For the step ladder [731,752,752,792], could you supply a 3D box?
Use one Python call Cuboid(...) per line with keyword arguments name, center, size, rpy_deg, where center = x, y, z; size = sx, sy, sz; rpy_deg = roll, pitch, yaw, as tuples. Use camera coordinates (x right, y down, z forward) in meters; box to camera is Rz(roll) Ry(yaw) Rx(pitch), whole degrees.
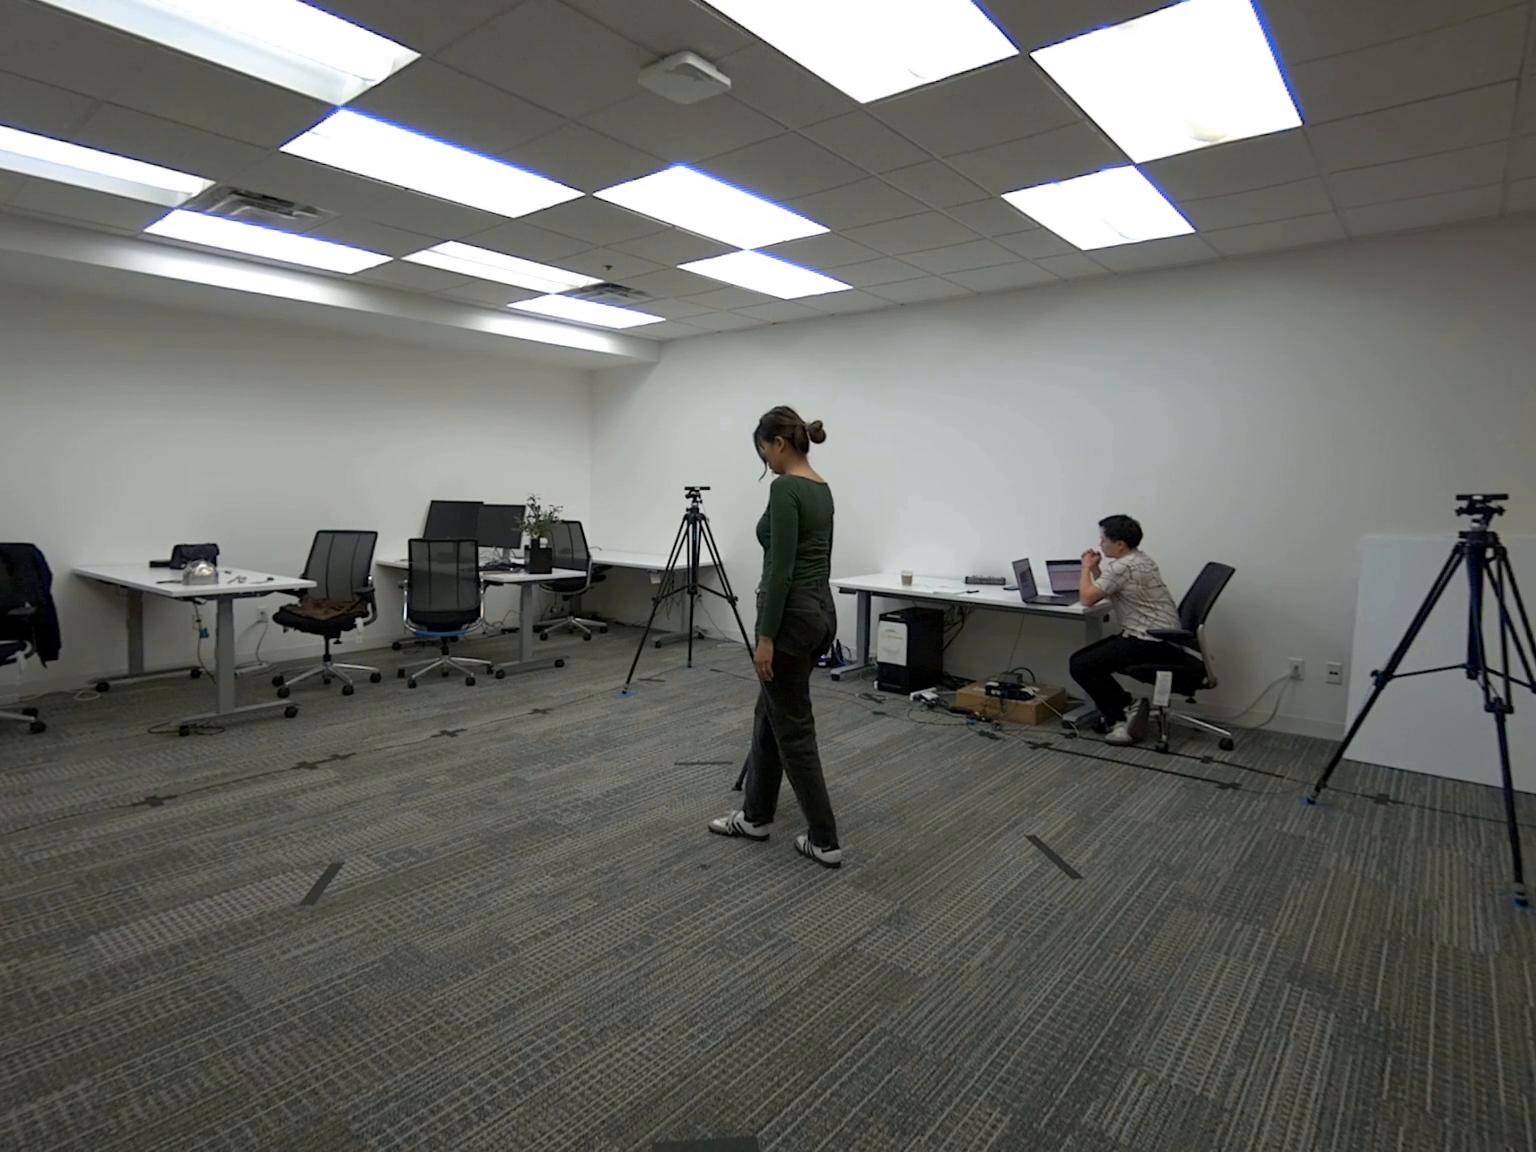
Cuboid(name="step ladder", center=(0.025, 0.701, 3.717), size=(0.349, 0.604, 0.433), rpy_deg=(0, 4, -3))
